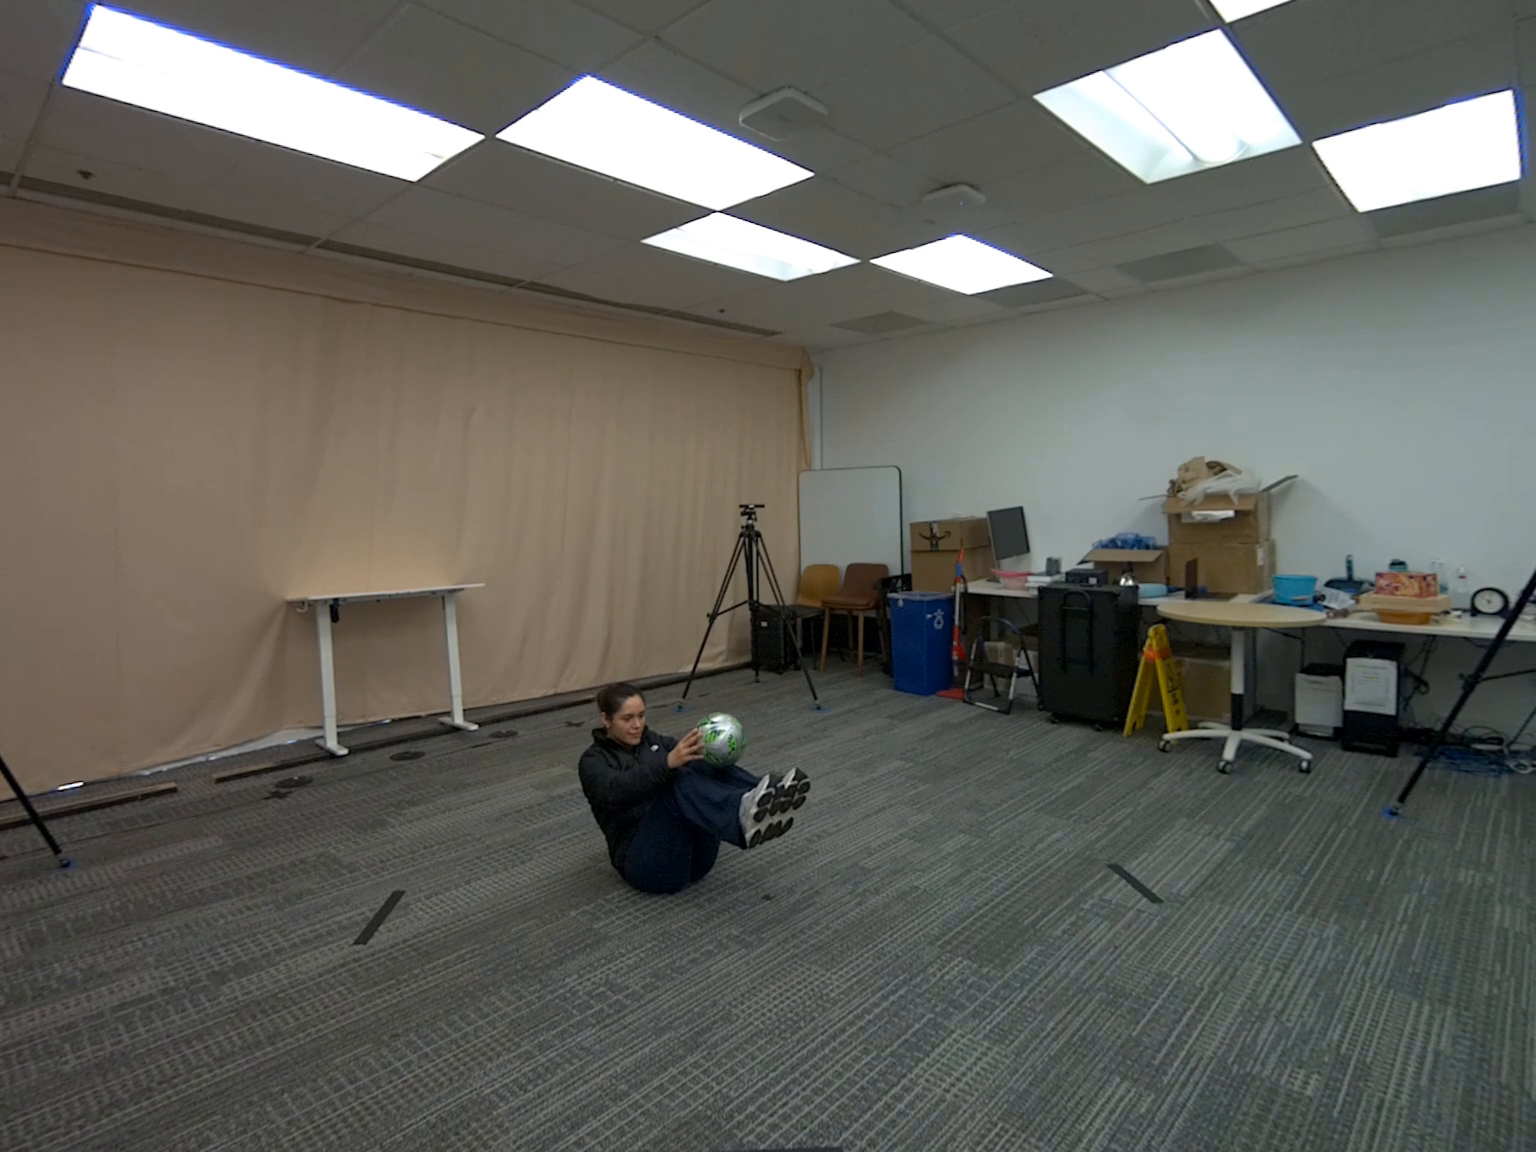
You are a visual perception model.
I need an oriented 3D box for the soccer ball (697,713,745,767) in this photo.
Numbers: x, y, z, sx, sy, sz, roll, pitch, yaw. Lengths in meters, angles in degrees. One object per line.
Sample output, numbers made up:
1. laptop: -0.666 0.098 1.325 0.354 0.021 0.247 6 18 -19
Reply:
1. soccer ball: -0.163 0.568 2.879 0.187 0.187 0.188 2 5 -2
